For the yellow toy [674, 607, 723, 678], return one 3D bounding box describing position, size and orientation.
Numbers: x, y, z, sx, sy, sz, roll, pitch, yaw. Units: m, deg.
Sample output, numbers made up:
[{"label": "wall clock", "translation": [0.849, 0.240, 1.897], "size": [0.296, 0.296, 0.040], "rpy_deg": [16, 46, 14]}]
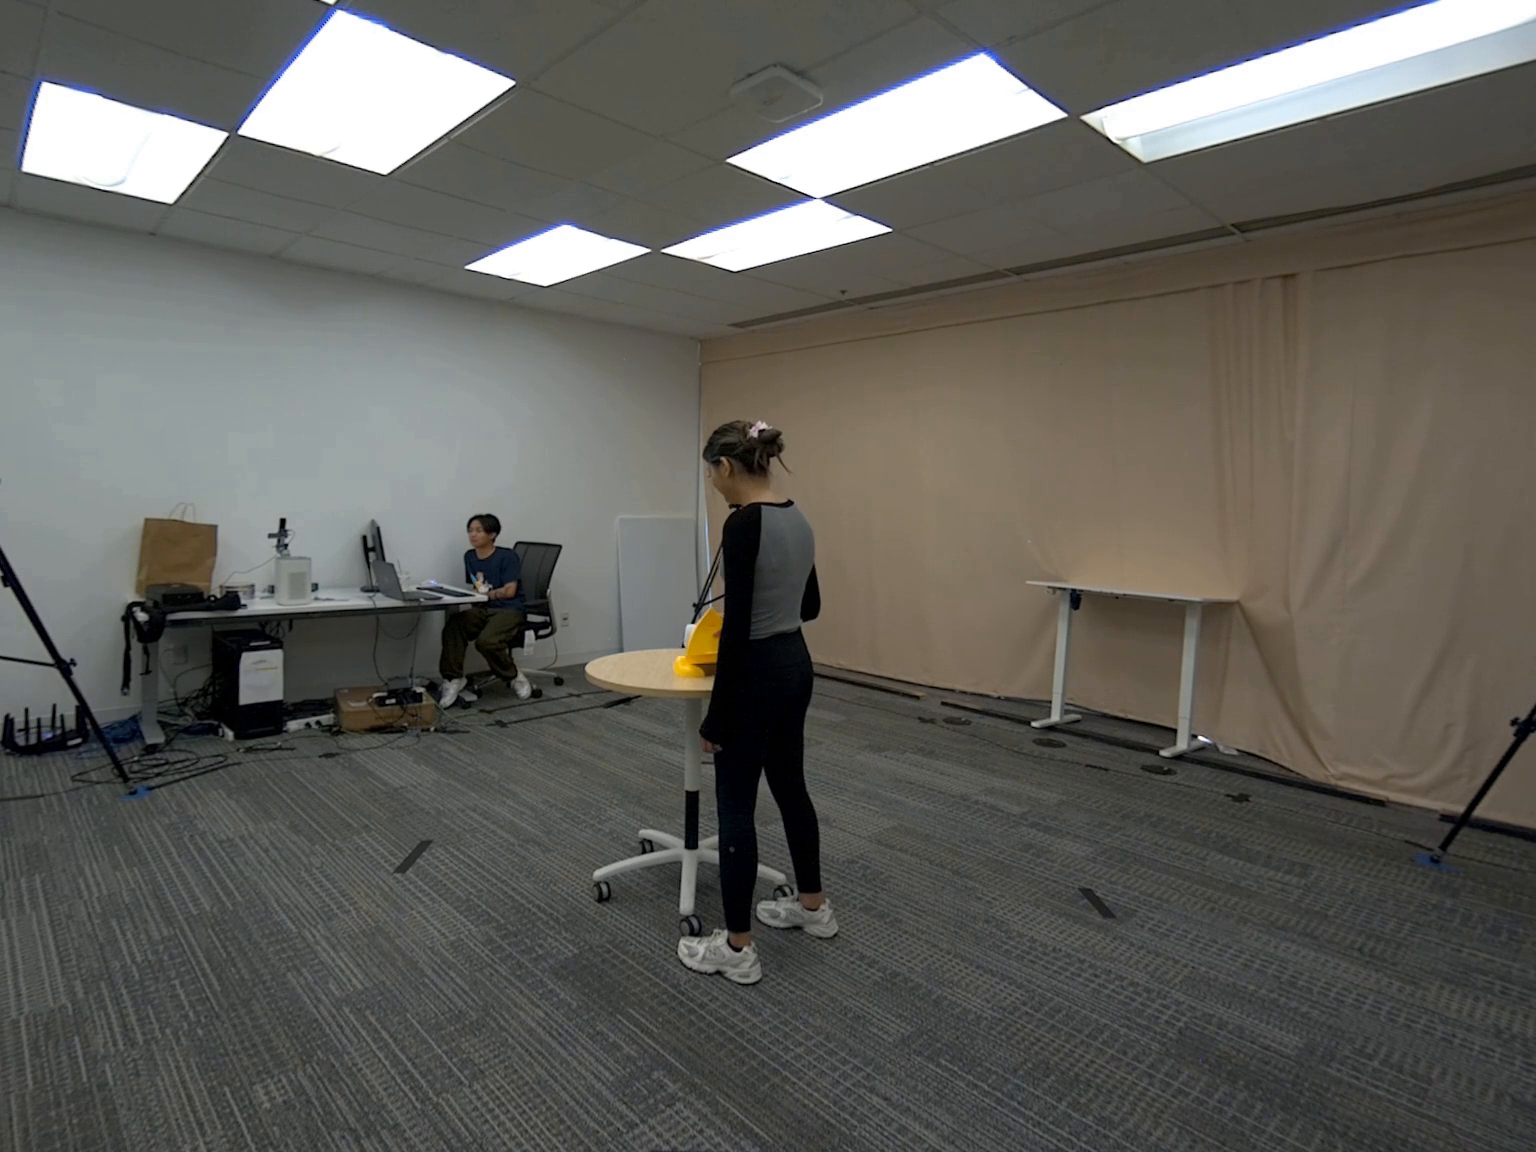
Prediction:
[{"label": "yellow toy", "translation": [-0.229, 0.218, 2.879], "size": [0.201, 0.230, 0.197], "rpy_deg": [-1, 4, -26]}]
